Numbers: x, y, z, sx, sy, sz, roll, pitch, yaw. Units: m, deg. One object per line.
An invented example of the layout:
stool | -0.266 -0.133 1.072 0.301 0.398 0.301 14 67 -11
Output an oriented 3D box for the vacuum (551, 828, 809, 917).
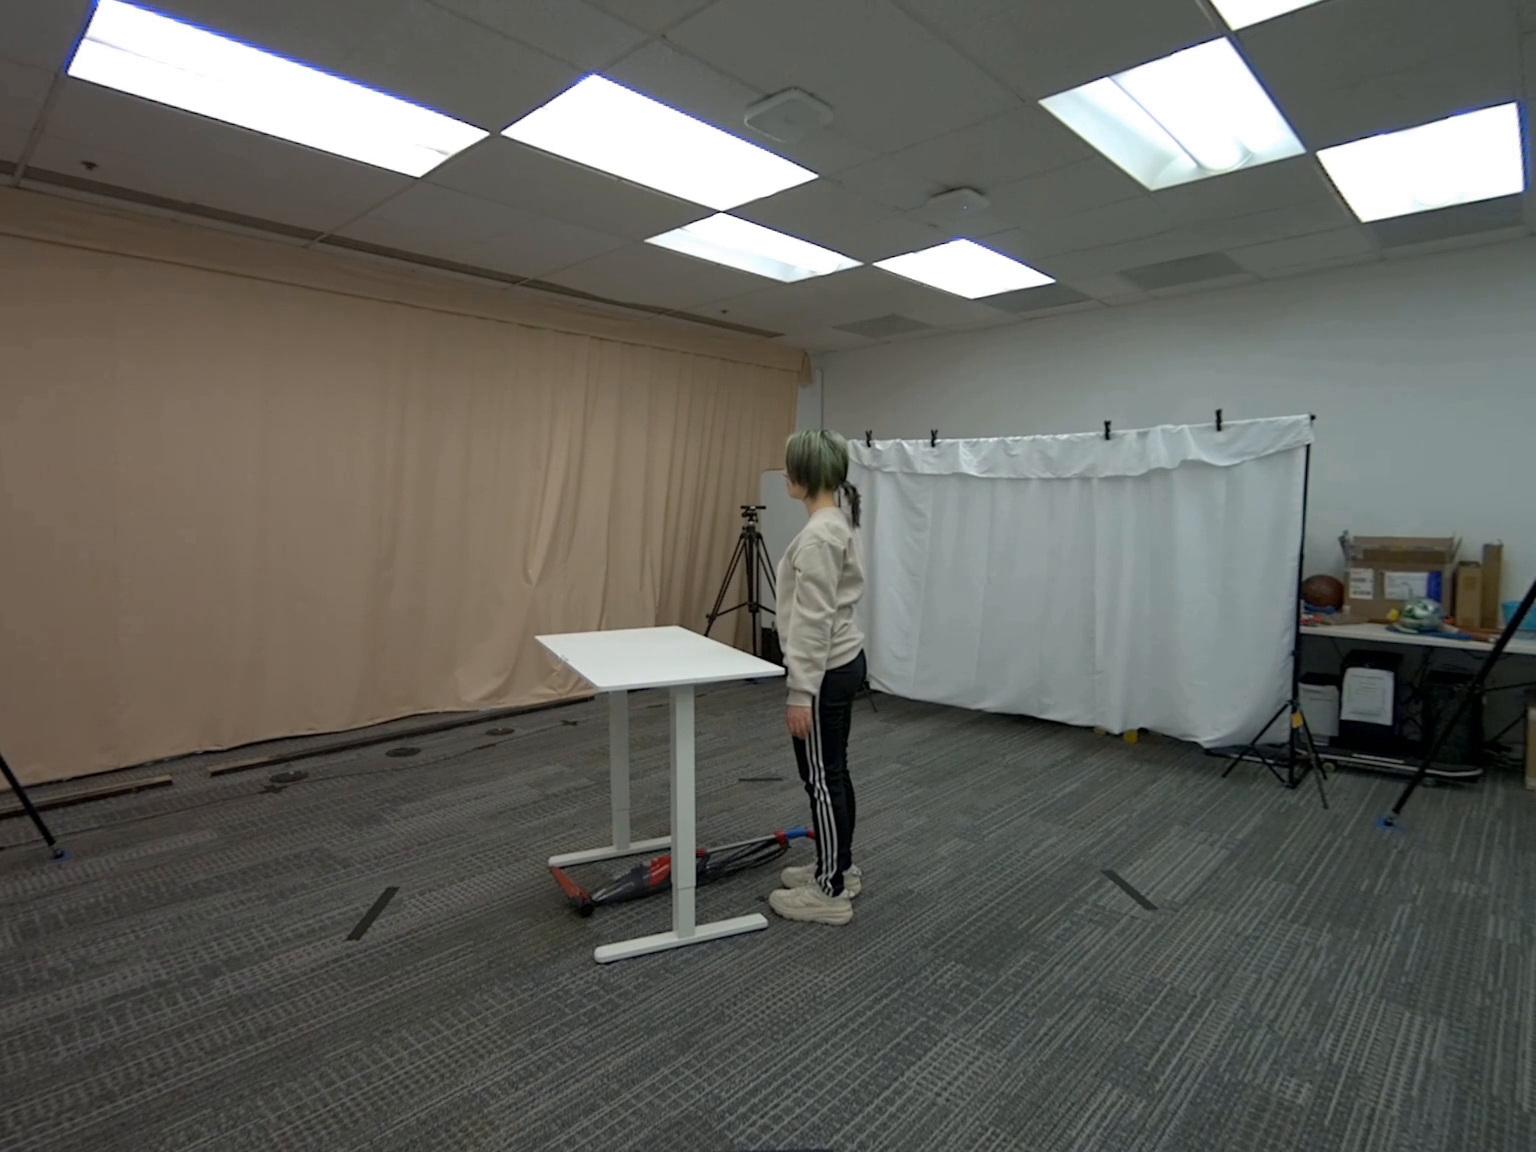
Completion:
vacuum | -0.232 1.077 3.138 1.023 0.144 0.259 -2 4 -27
